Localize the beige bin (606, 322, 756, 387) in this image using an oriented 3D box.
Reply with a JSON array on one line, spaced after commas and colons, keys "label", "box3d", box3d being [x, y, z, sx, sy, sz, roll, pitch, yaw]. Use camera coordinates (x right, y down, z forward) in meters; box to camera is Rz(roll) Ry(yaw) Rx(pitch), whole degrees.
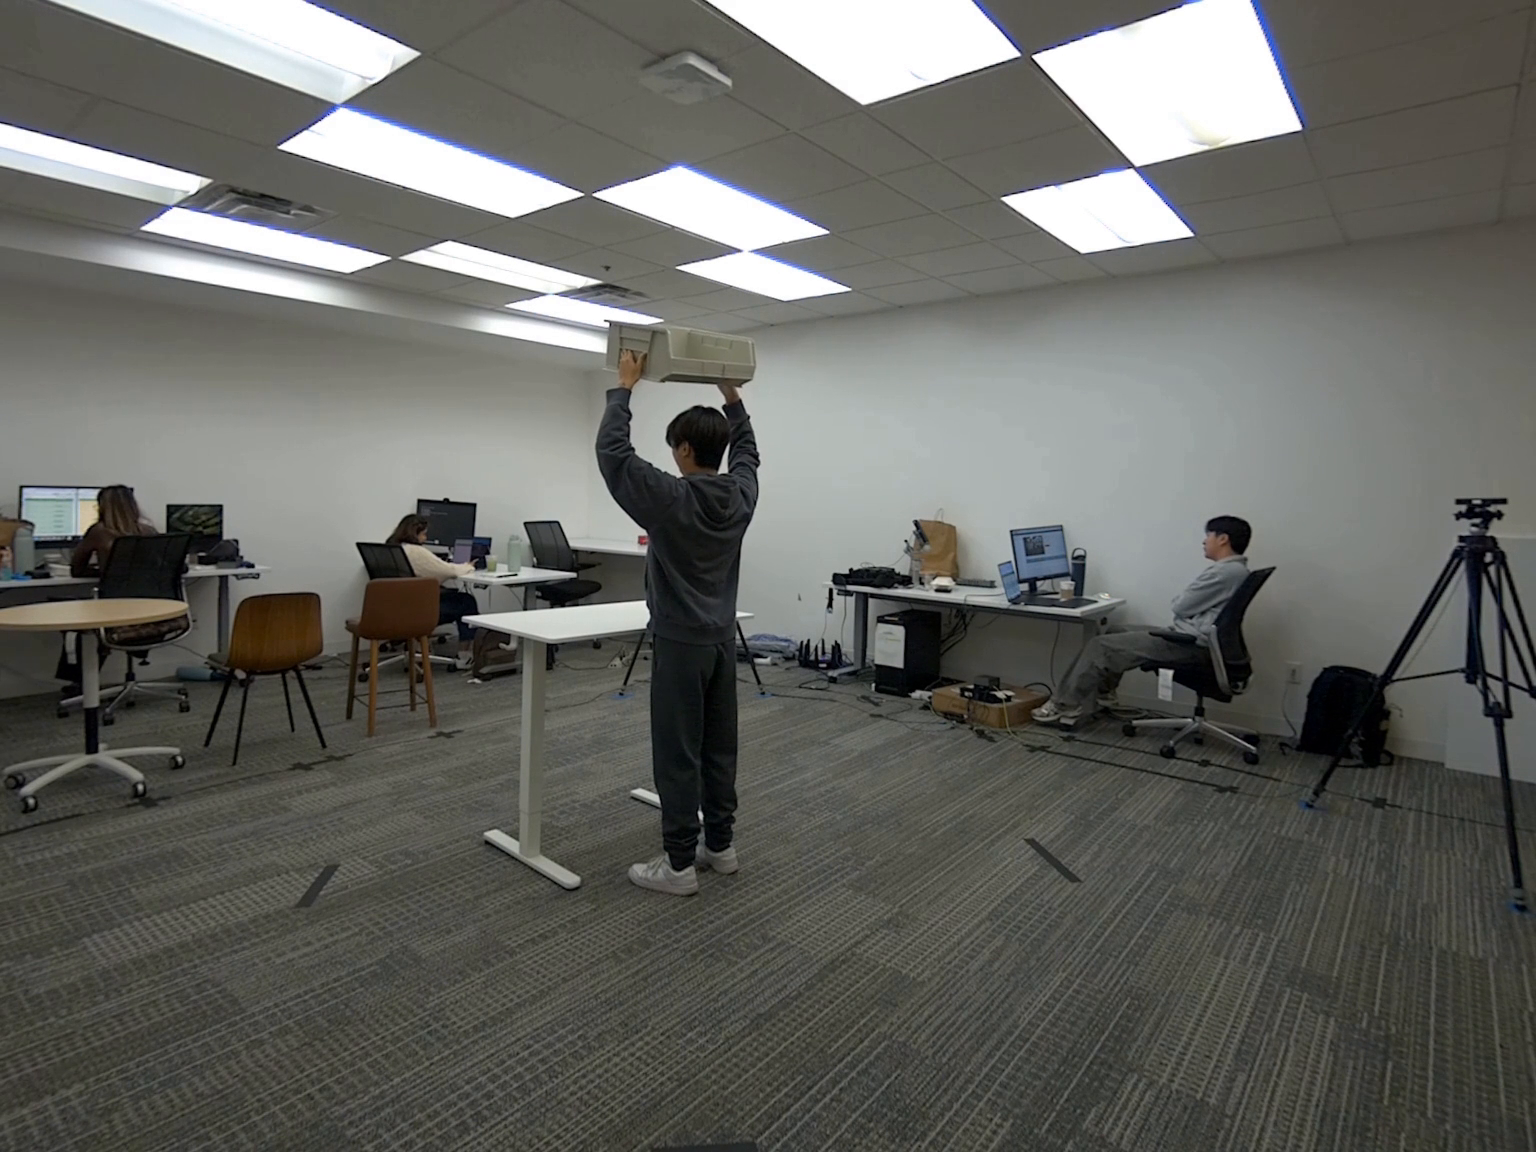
[{"label": "beige bin", "box3d": [-0.325, -0.797, 3.053, 0.392, 0.187, 0.411, 22, 21, 39]}]
